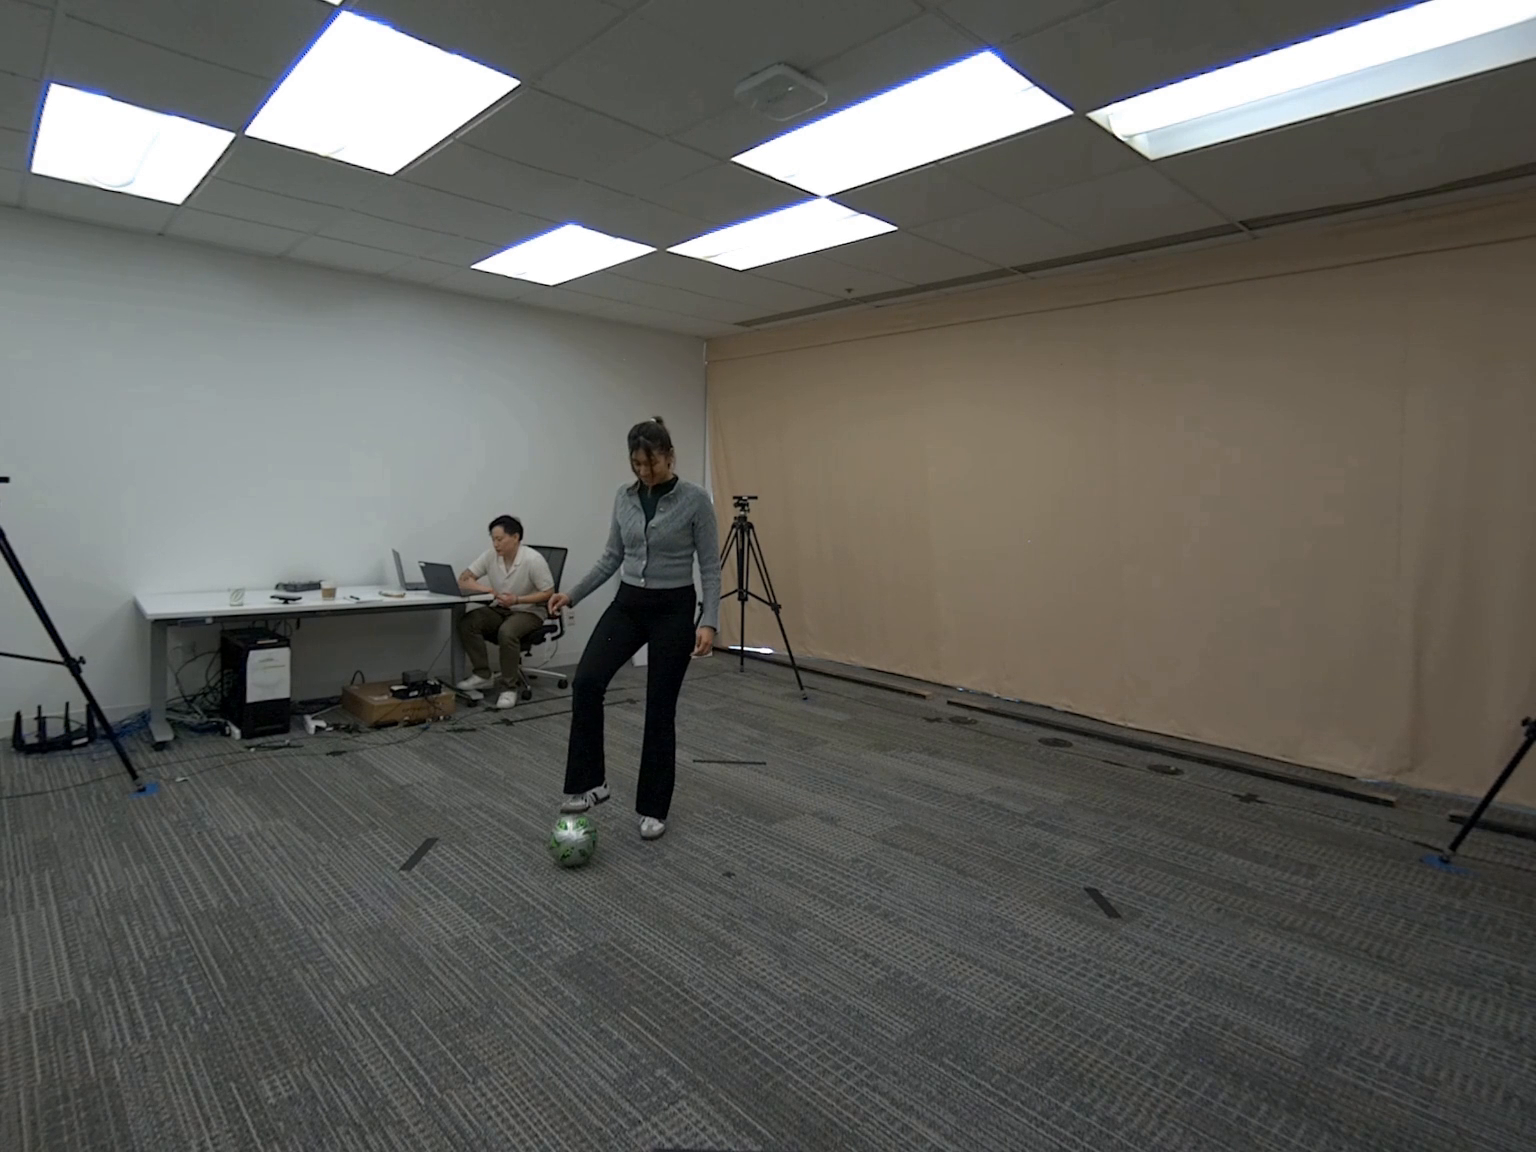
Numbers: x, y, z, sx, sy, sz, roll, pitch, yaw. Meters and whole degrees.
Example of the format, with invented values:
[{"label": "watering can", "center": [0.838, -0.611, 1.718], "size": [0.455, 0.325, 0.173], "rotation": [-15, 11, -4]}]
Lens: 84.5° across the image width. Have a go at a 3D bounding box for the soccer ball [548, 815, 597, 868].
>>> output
[{"label": "soccer ball", "center": [-0.742, 0.995, 3.150], "size": [0.187, 0.187, 0.188], "rotation": [1, 4, -1]}]
